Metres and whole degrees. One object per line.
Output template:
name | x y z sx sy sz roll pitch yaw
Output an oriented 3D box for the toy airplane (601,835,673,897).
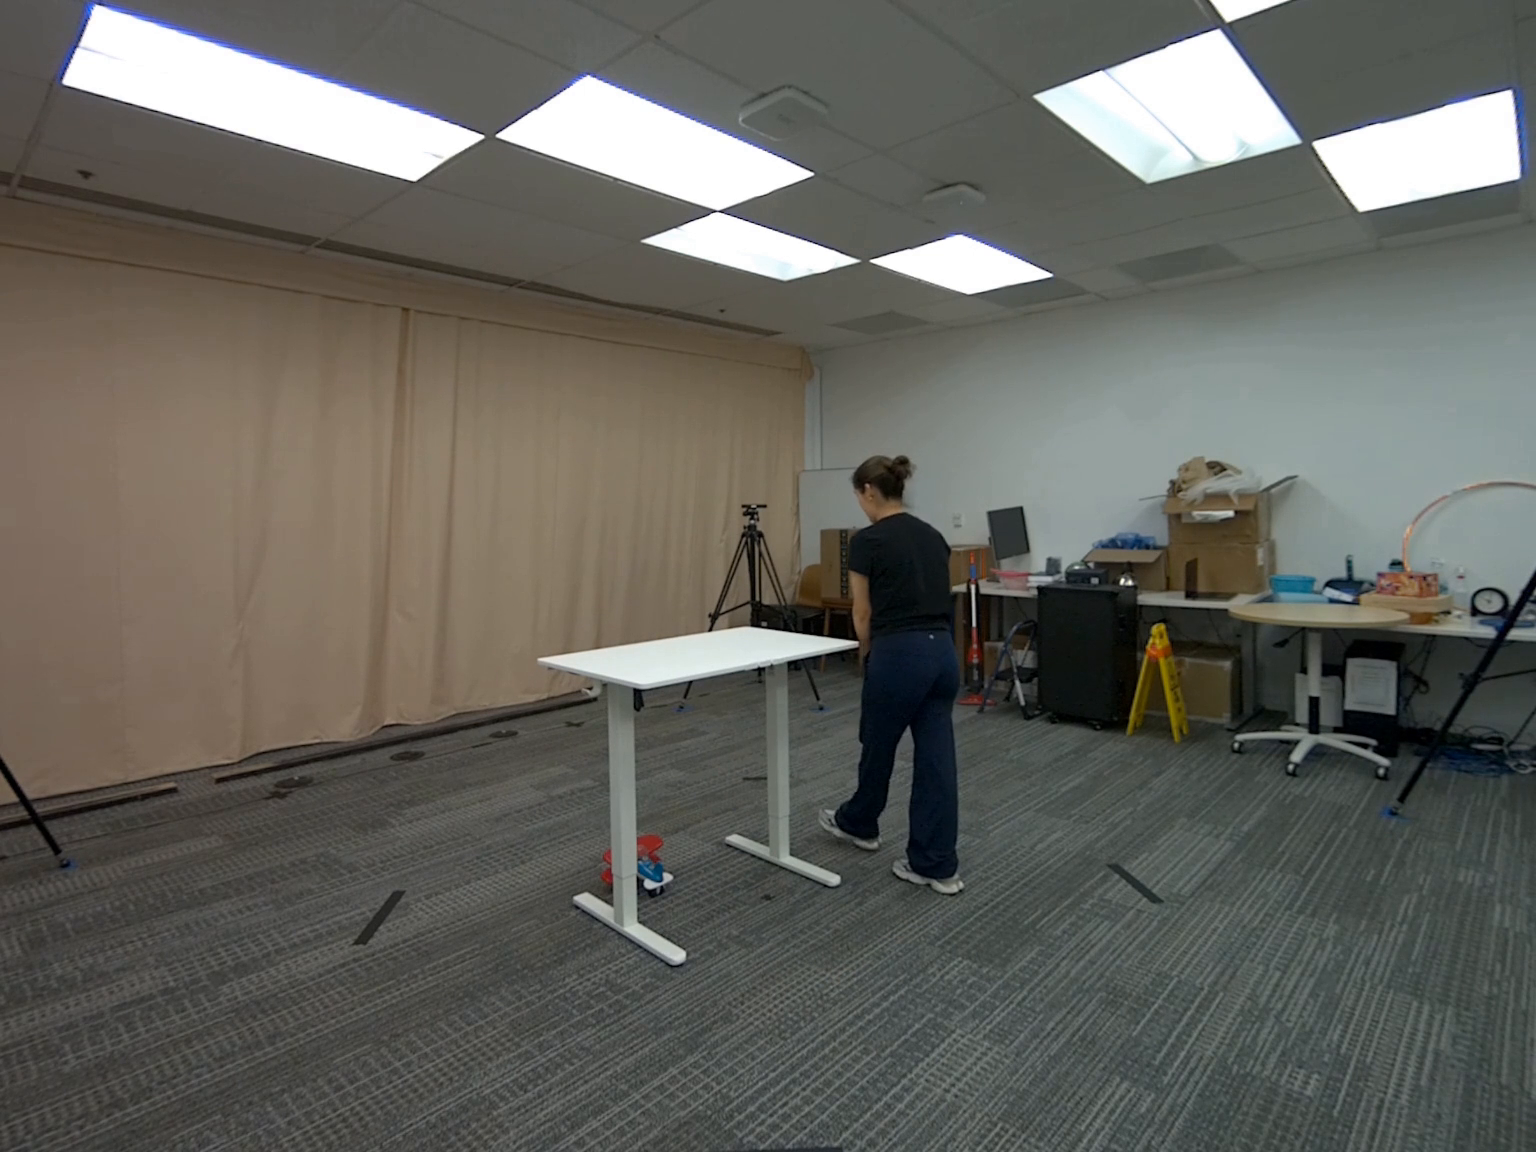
toy airplane | -0.449 1.071 3.092 0.263 0.156 0.248 -2 5 14
